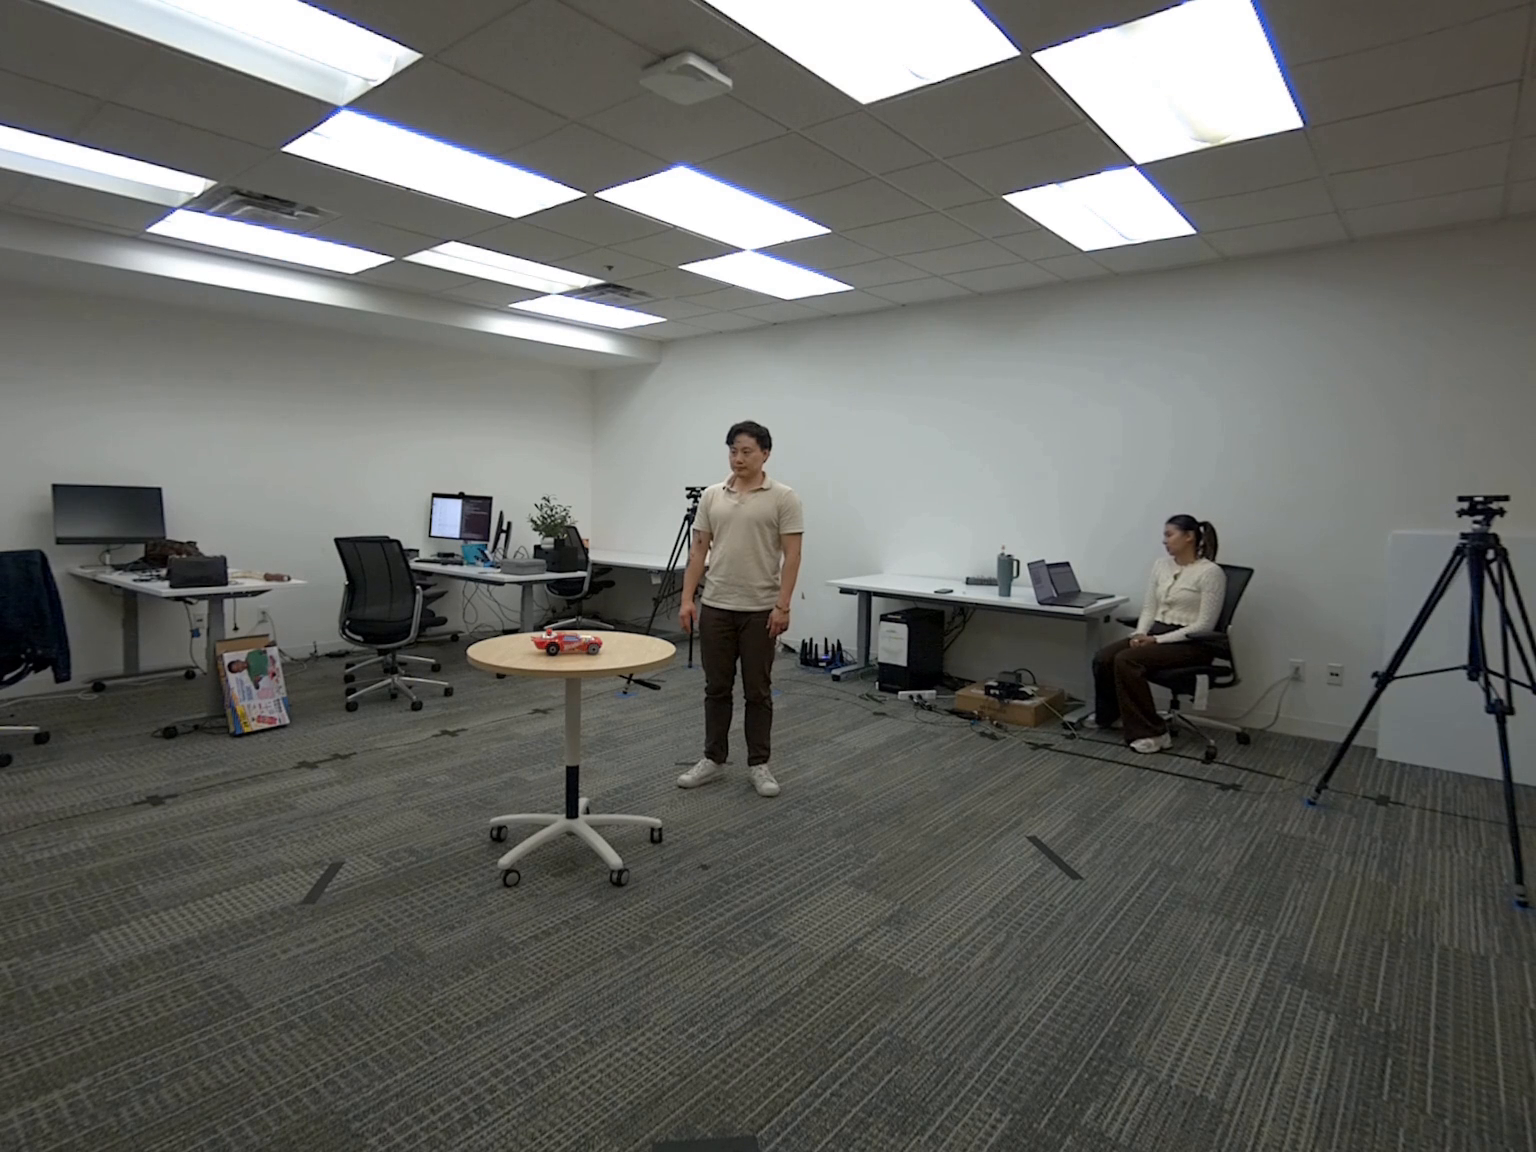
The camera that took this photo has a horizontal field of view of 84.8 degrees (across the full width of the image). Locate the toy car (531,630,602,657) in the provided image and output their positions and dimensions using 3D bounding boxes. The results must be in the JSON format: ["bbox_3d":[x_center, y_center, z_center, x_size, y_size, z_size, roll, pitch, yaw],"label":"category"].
[{"bbox_3d":[-0.751,0.243,3.083,0.250,0.083,0.133,12,2,-16],"label":"toy car"}]
